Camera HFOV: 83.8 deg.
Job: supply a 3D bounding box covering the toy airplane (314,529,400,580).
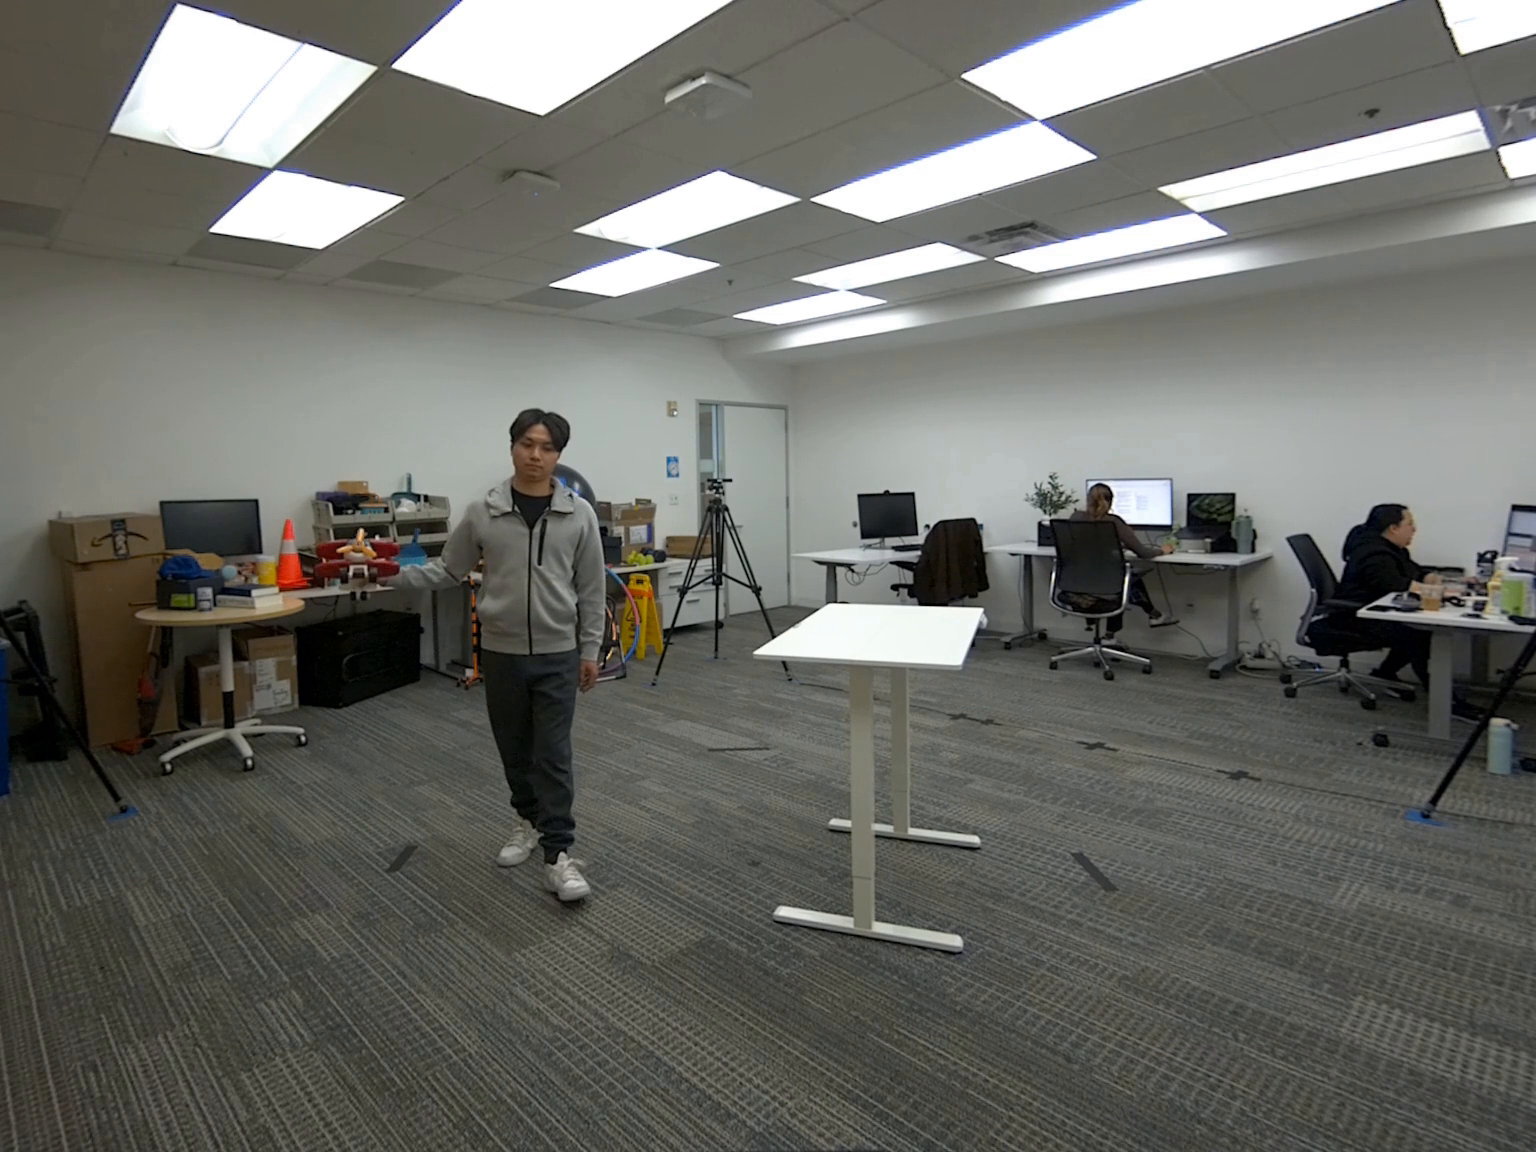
[{"bbox_3d":[-1.359,-0.026,2.806,0.263,0.159,0.242,-22,-21,34],"label":"toy airplane"}]
